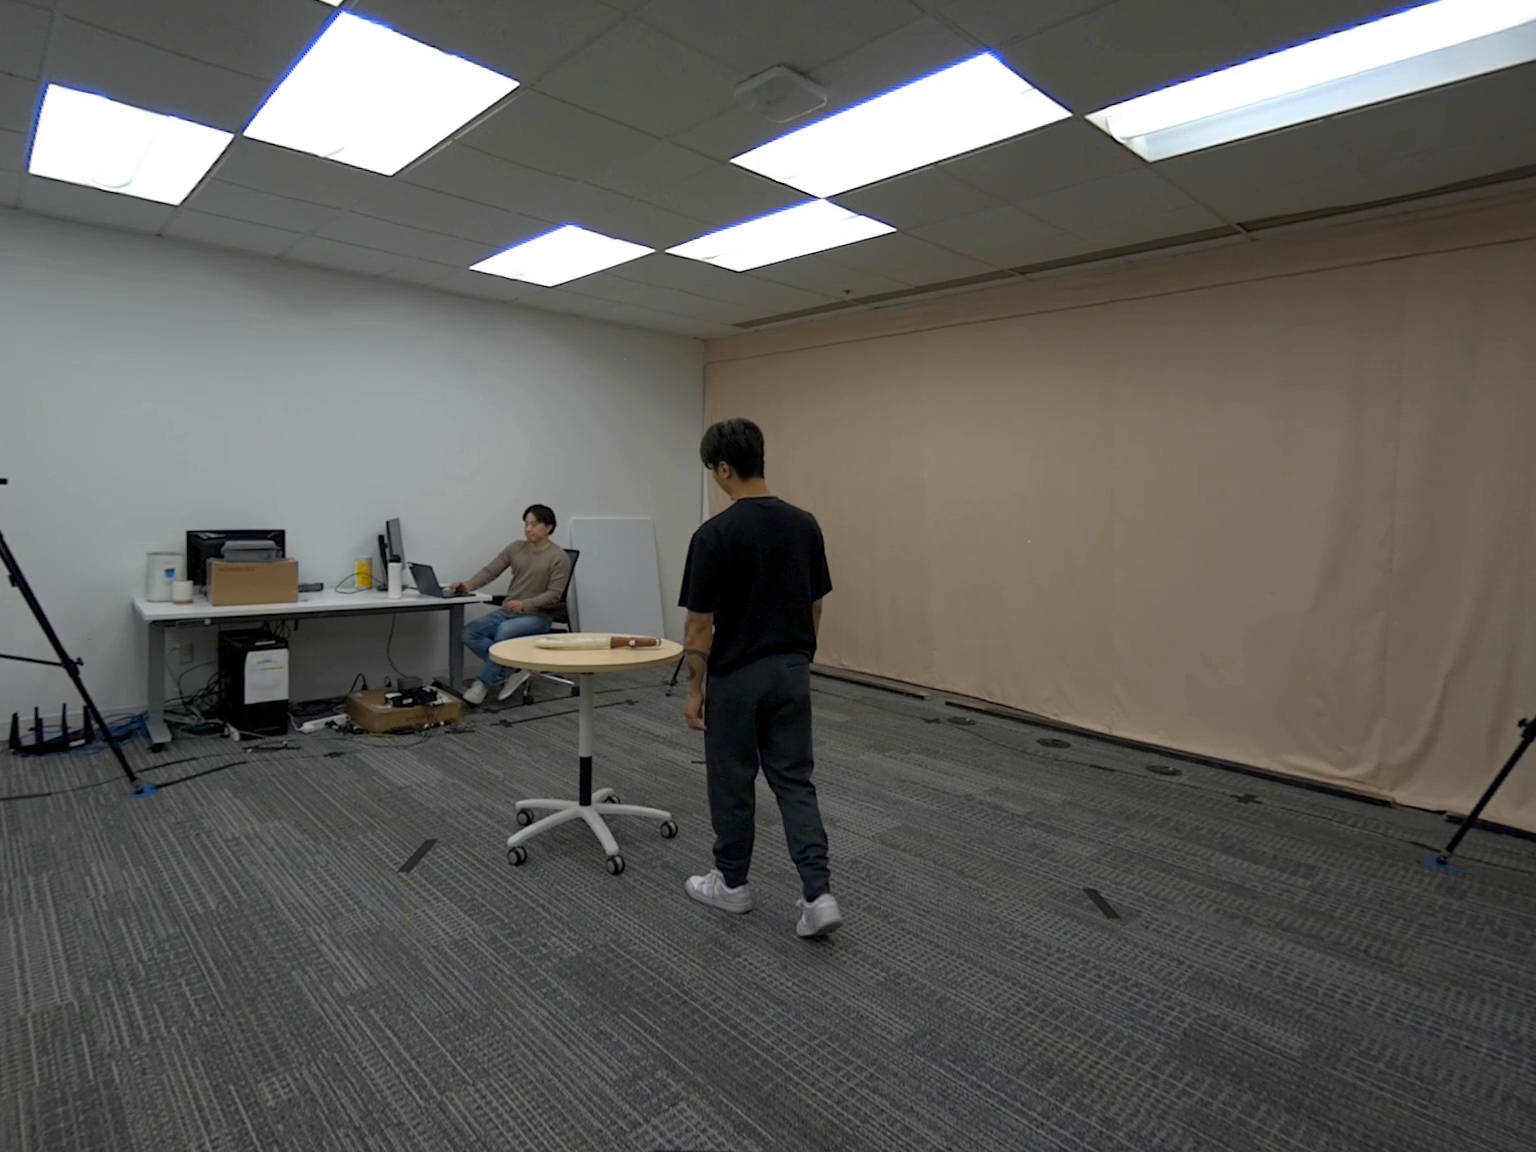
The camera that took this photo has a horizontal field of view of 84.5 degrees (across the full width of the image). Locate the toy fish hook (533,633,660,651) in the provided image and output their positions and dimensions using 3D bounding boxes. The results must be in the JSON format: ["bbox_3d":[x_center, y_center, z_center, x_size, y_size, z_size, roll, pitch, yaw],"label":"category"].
[{"bbox_3d":[-0.691,0.259,3.411,0.506,0.048,0.226,0,7,-1],"label":"toy fish hook"}]
